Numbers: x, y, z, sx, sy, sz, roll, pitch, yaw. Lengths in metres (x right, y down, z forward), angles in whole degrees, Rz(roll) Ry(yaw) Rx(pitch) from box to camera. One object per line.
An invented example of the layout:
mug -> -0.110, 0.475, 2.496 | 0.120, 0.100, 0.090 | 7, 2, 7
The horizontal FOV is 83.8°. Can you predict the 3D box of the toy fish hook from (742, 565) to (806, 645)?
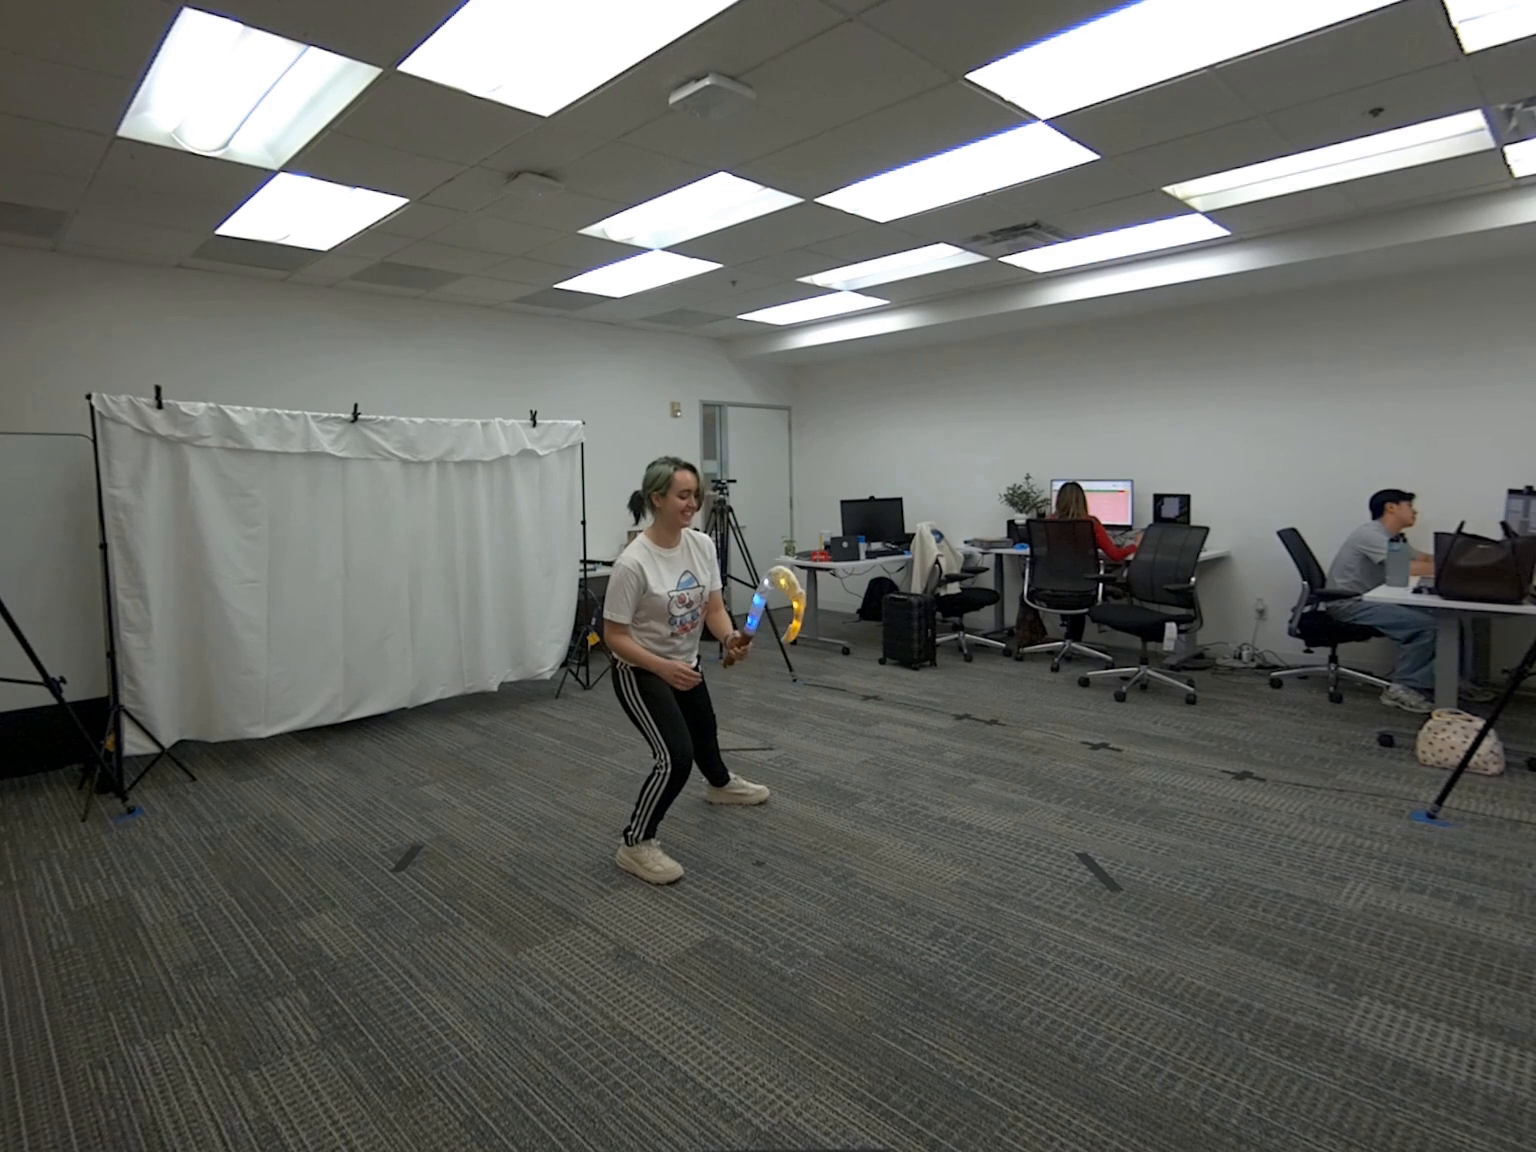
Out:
toy fish hook -> -0.016, 0.174, 2.774 | 0.047, 0.232, 0.502 | 1, -43, -34
